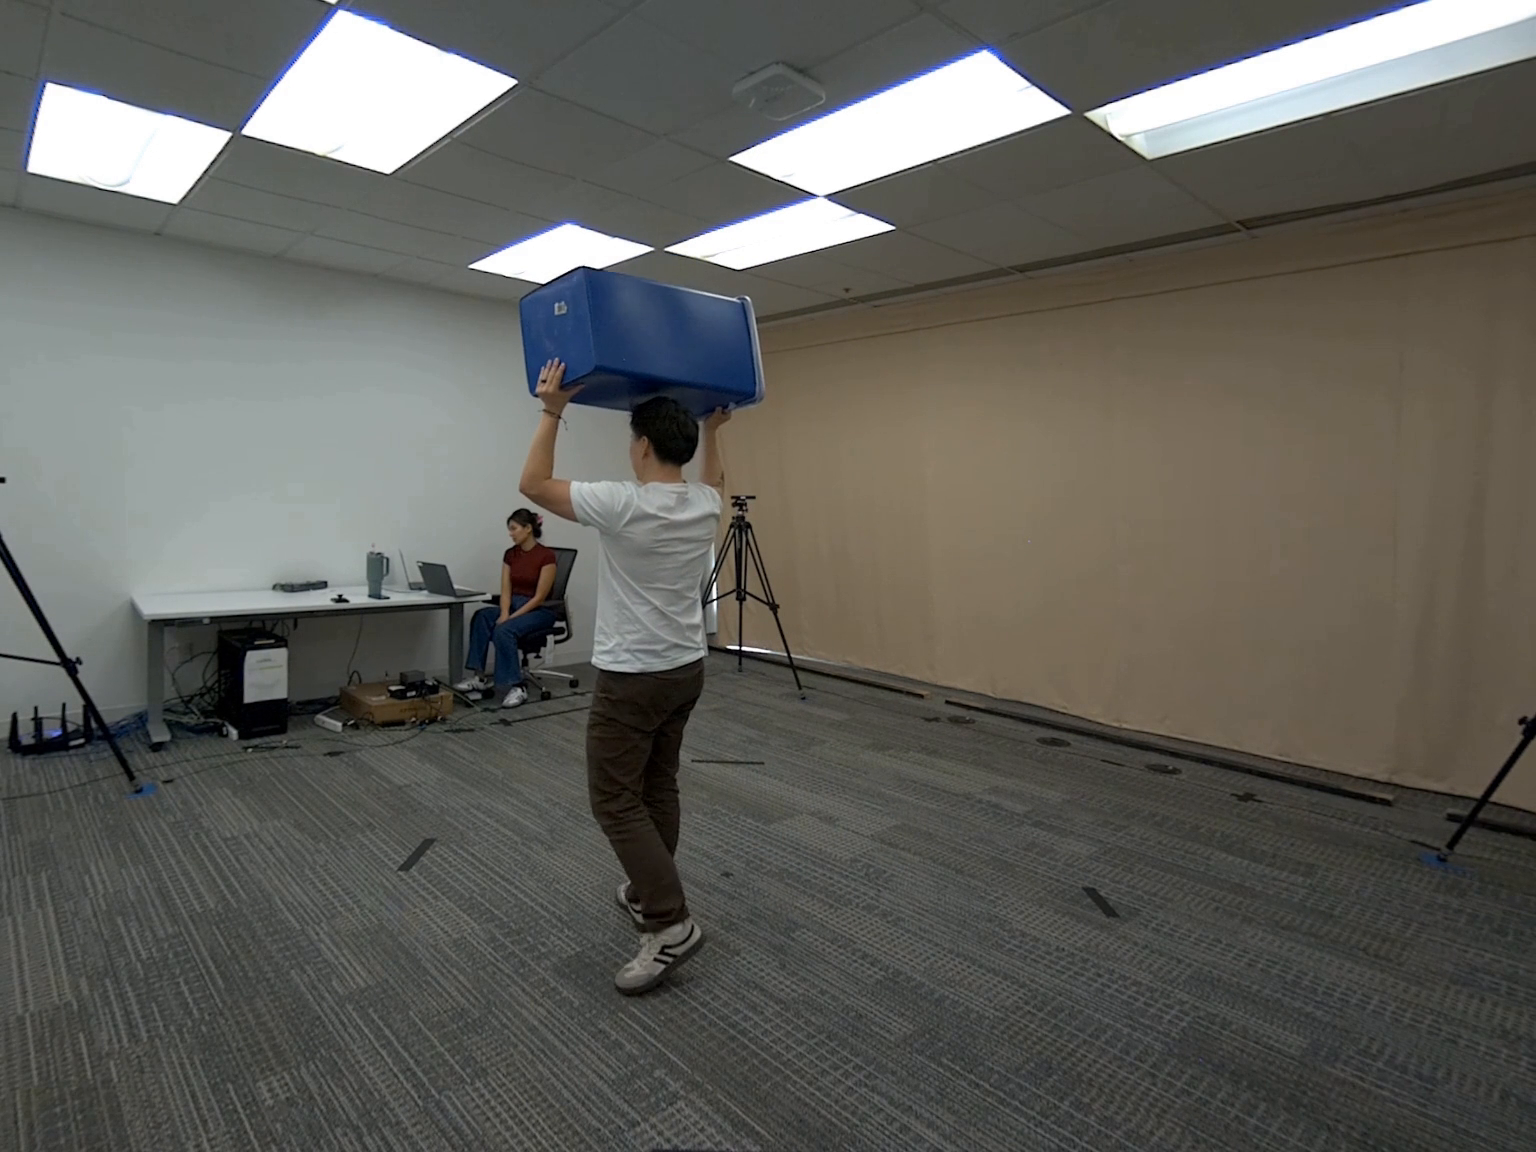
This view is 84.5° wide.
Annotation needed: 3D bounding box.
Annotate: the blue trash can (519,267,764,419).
[{"bbox_3d":[-0.397,-0.715,2.666,0.381,0.379,0.698,-10,-2,39],"label":"blue trash can"}]
